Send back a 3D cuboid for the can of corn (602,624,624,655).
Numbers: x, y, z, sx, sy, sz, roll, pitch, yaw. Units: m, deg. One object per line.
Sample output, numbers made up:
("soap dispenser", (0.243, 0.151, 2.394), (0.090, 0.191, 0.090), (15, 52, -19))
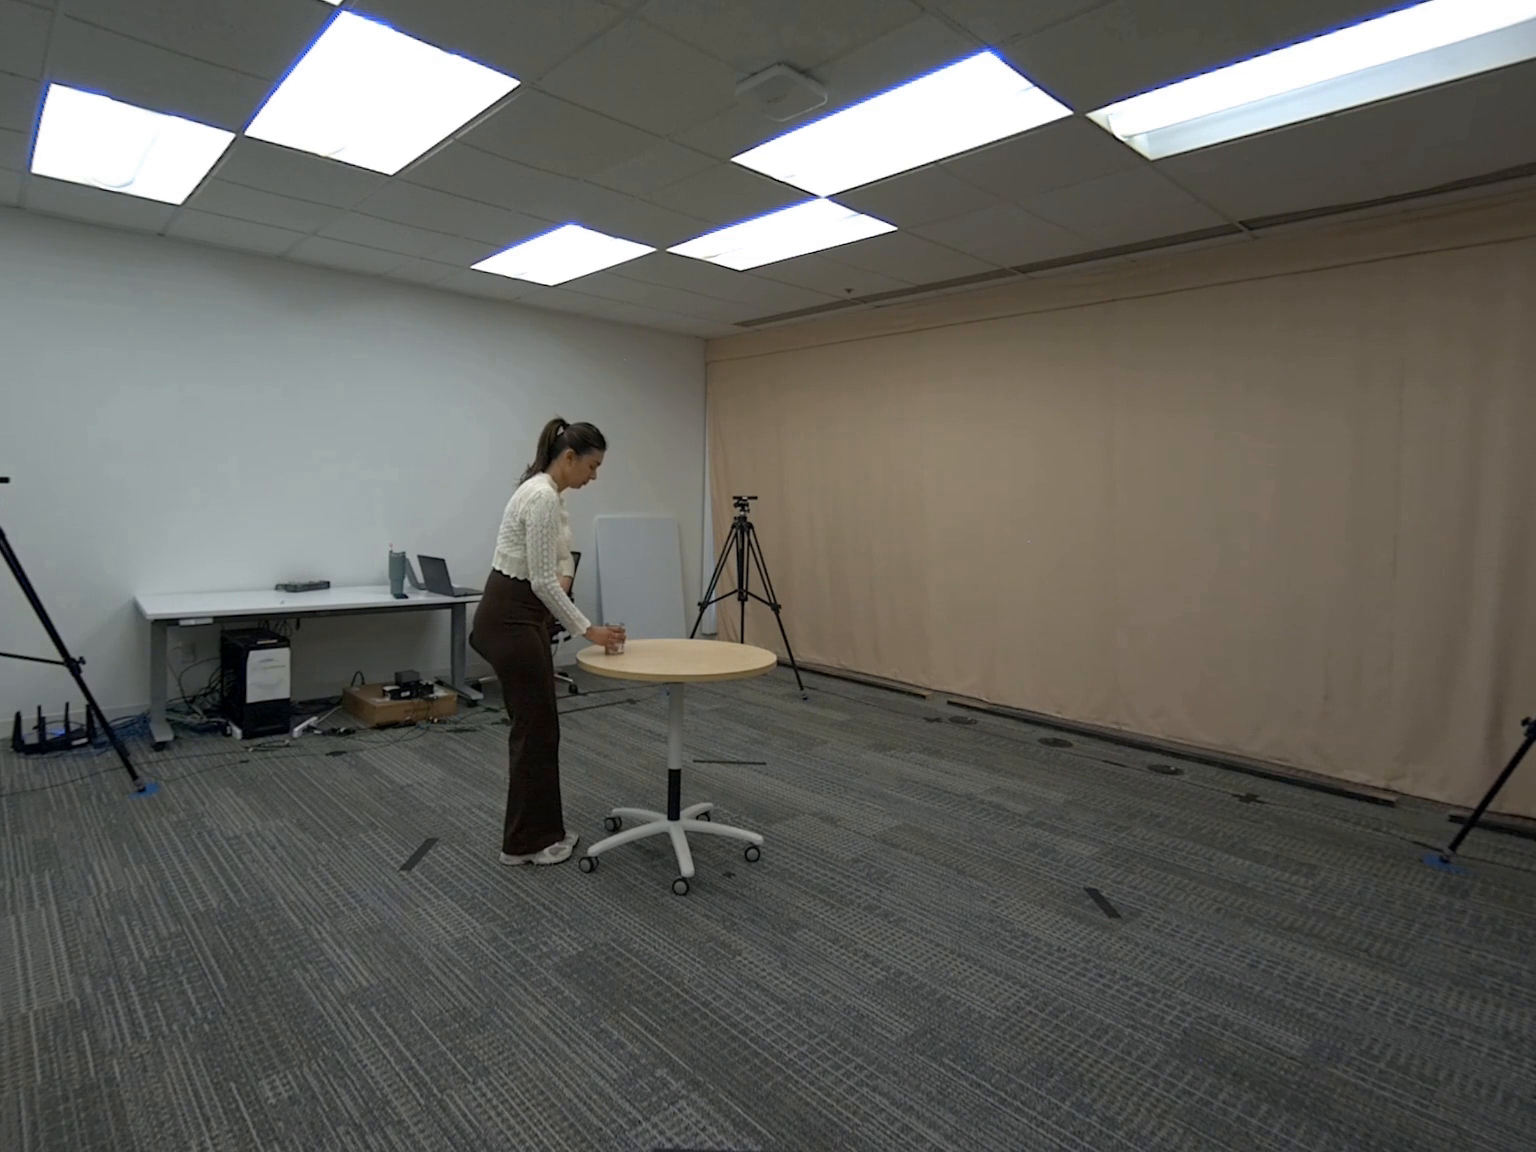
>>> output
("can of corn", (-0.599, 0.244, 3.223), (0.074, 0.111, 0.074), (-2, 4, -1))
